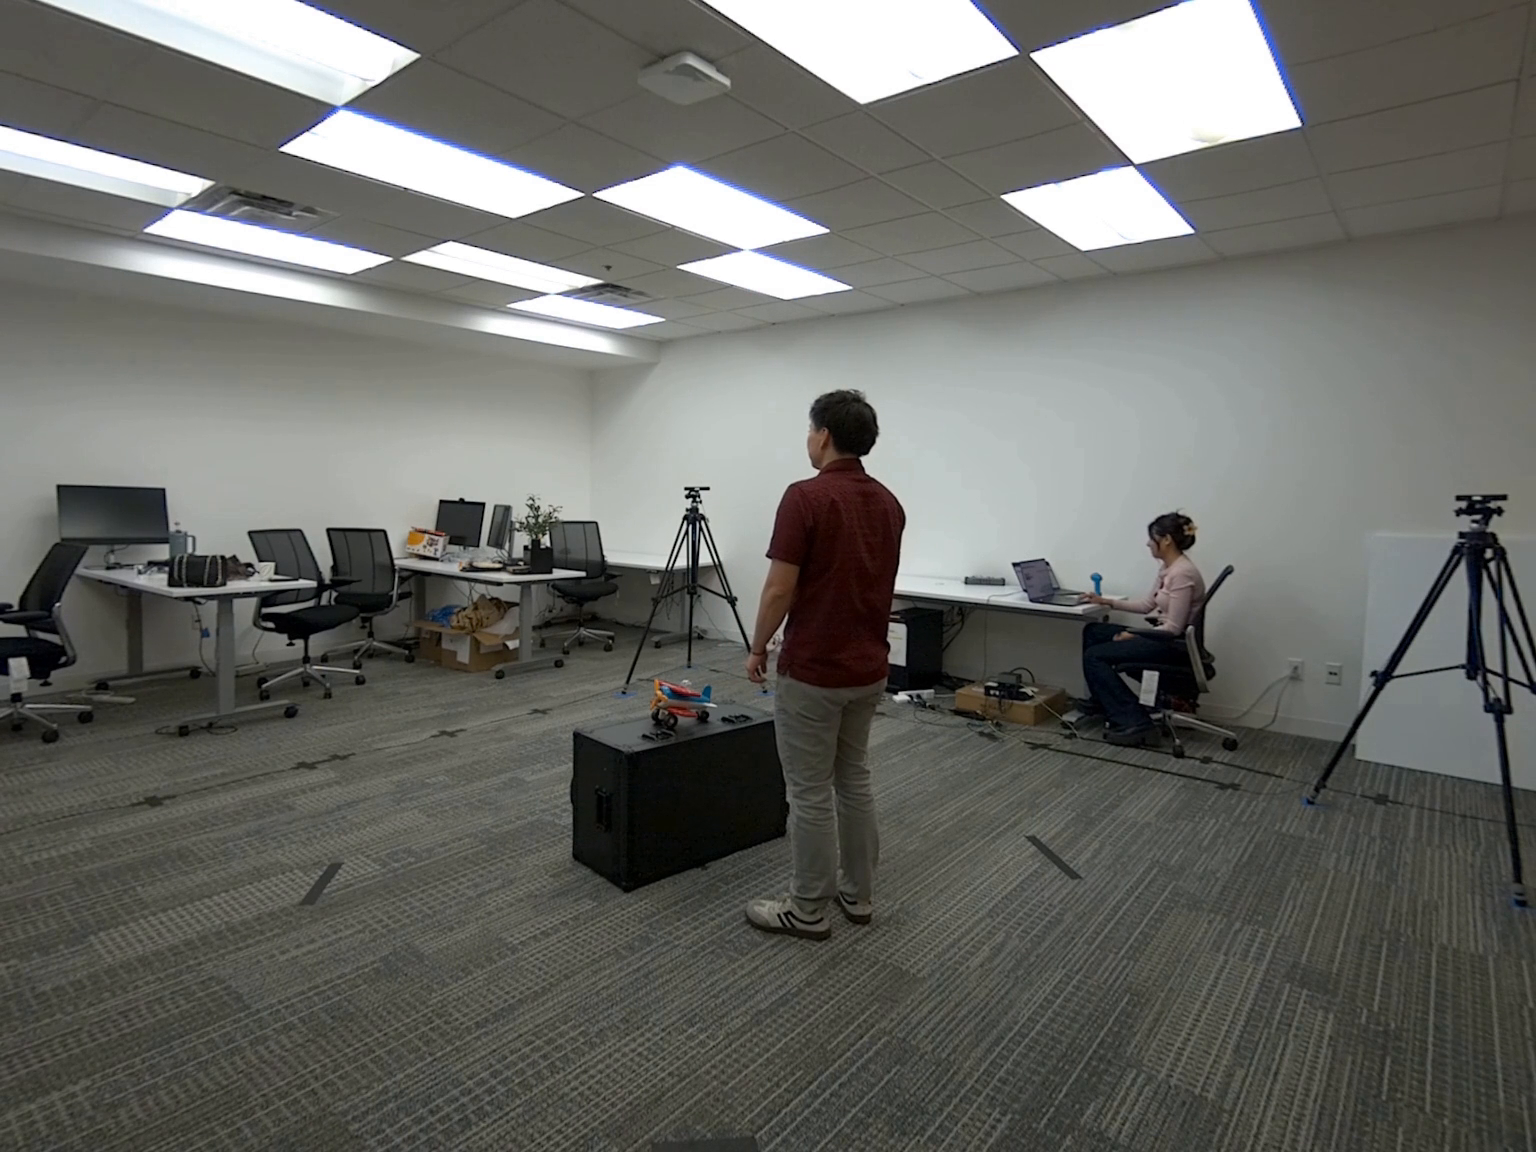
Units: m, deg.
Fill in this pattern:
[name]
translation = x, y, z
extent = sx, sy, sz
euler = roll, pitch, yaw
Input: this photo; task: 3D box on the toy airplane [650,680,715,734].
[toy airplane]
translation = -0.353, 0.483, 3.304
extent = 0.258, 0.155, 0.254
euler = 3, 7, 25
